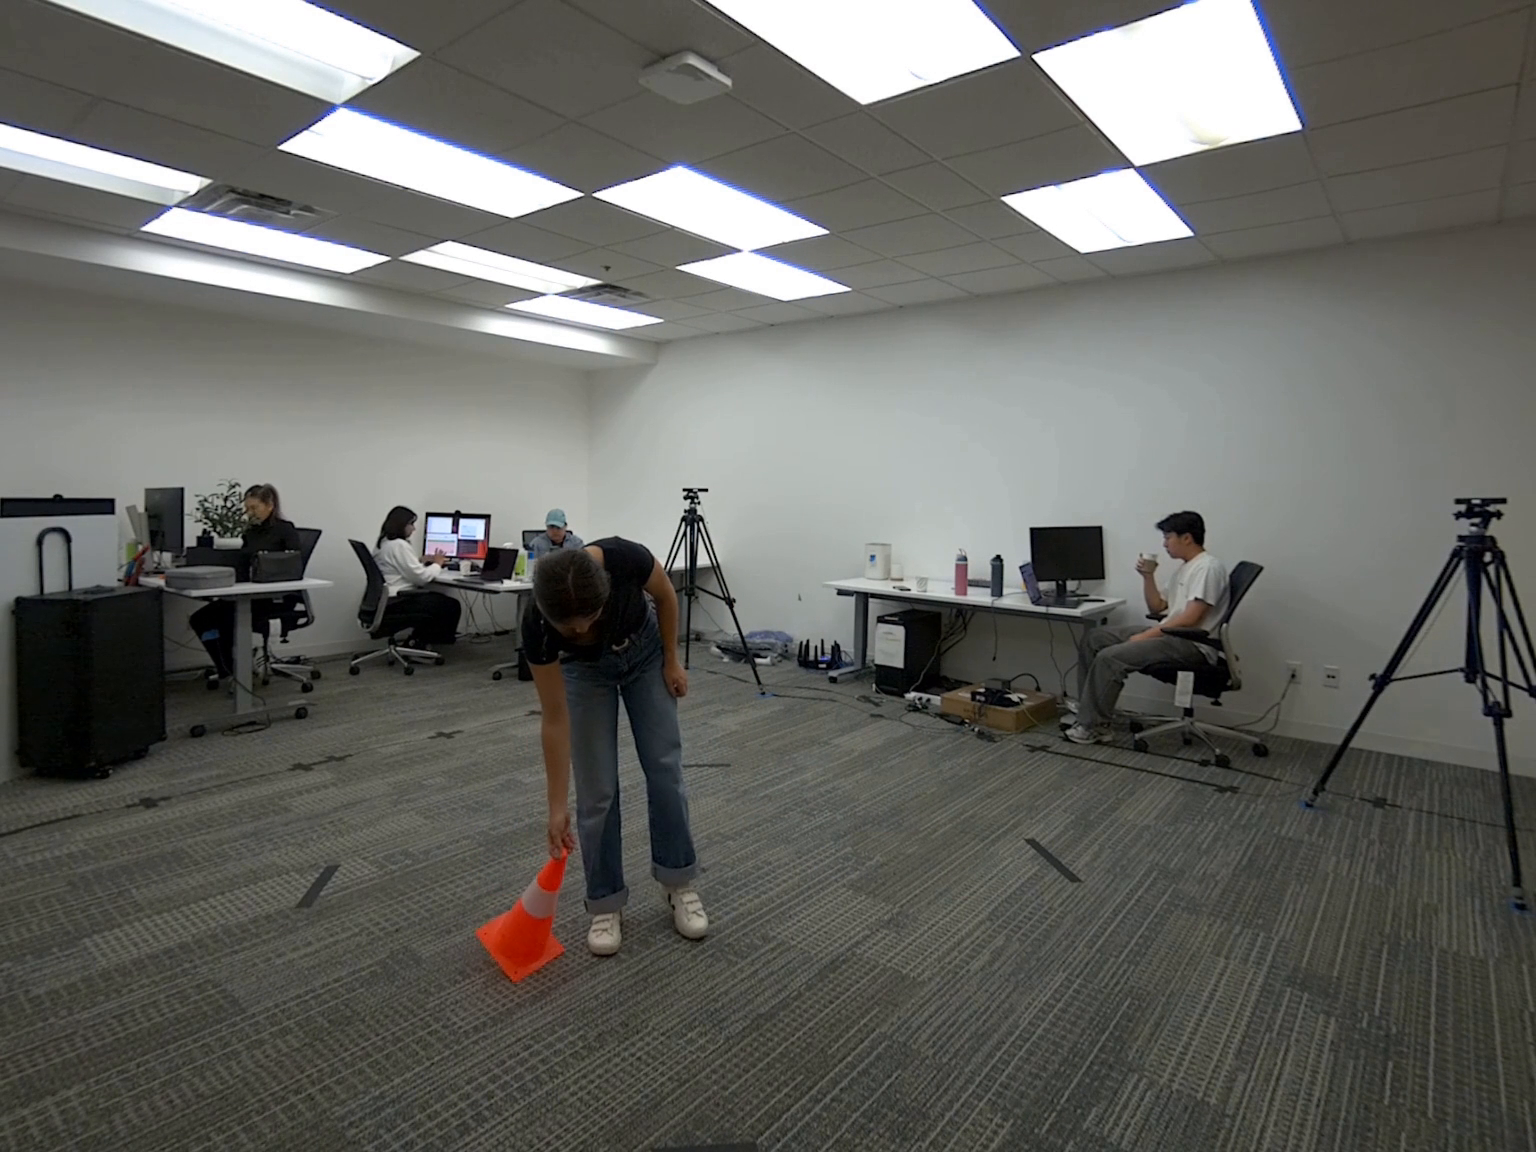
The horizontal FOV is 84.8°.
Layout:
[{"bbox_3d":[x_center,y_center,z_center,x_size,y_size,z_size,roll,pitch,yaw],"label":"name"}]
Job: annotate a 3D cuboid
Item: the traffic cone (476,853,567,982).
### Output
[{"bbox_3d":[-0.652,0.917,2.438,0.213,0.380,0.197,39,24,33],"label":"traffic cone"}]
